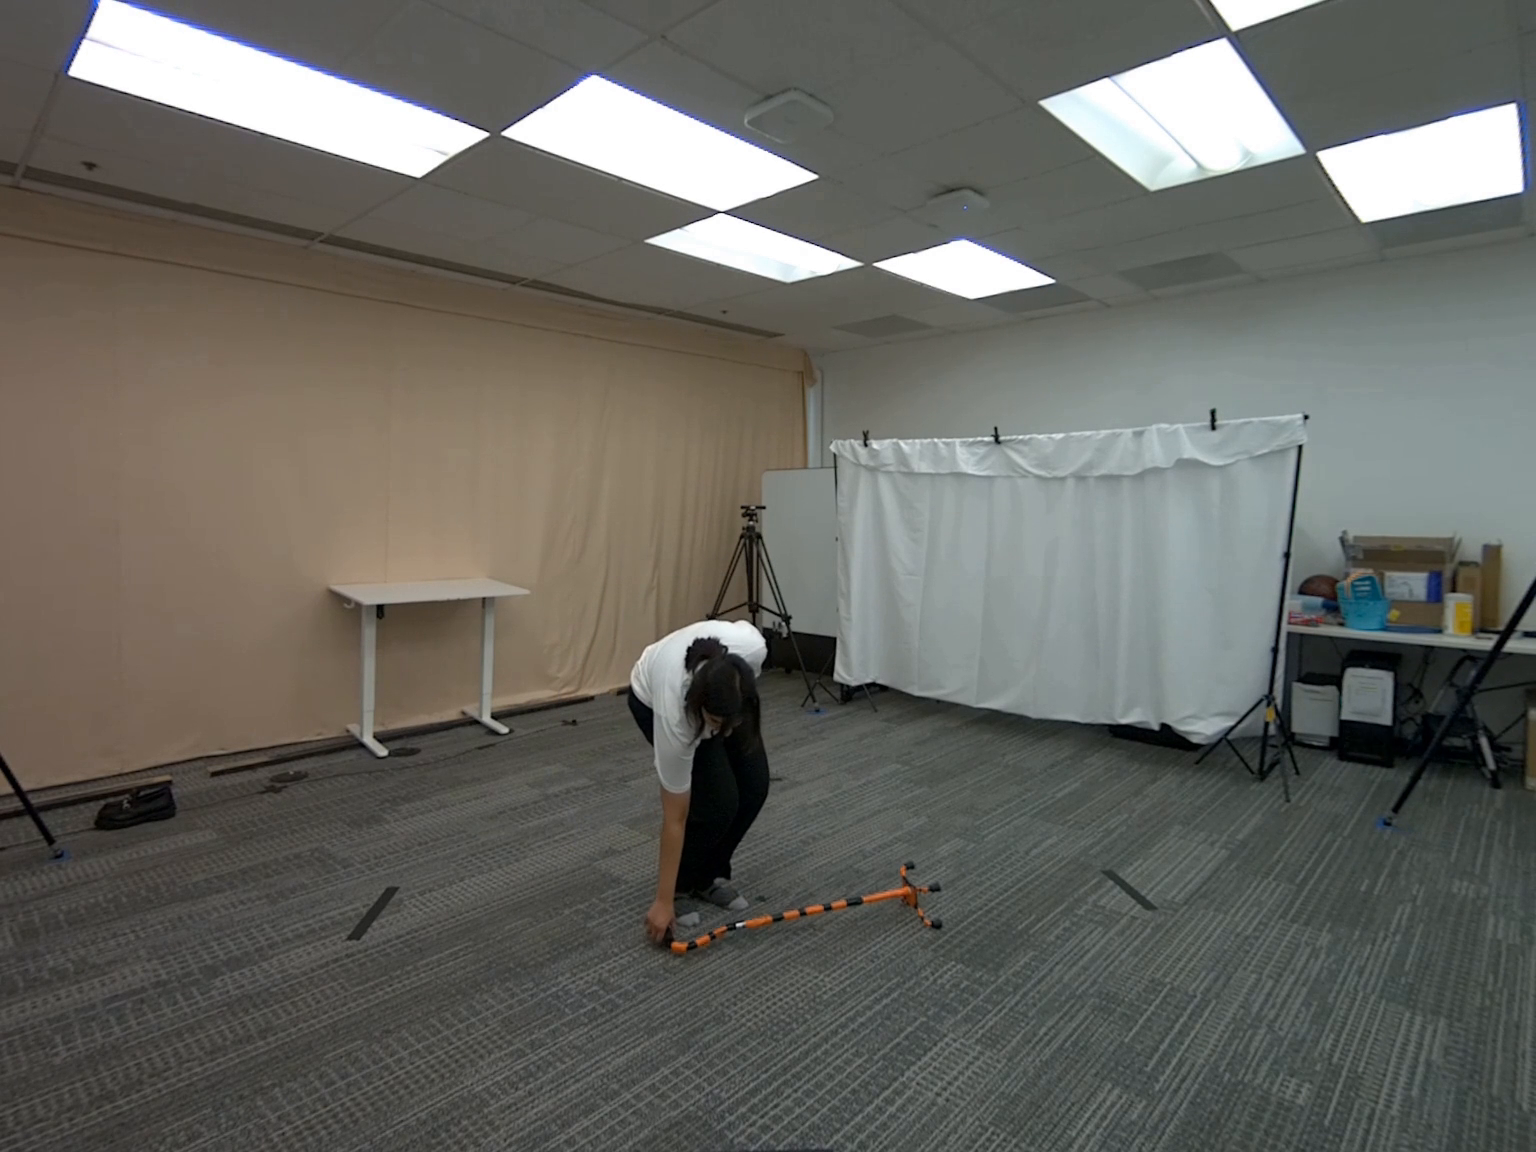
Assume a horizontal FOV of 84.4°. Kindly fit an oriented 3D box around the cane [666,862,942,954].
[{"bbox_3d":[0.117,1.102,2.740,0.894,0.151,0.210,-5,6,-15],"label":"cane"}]
